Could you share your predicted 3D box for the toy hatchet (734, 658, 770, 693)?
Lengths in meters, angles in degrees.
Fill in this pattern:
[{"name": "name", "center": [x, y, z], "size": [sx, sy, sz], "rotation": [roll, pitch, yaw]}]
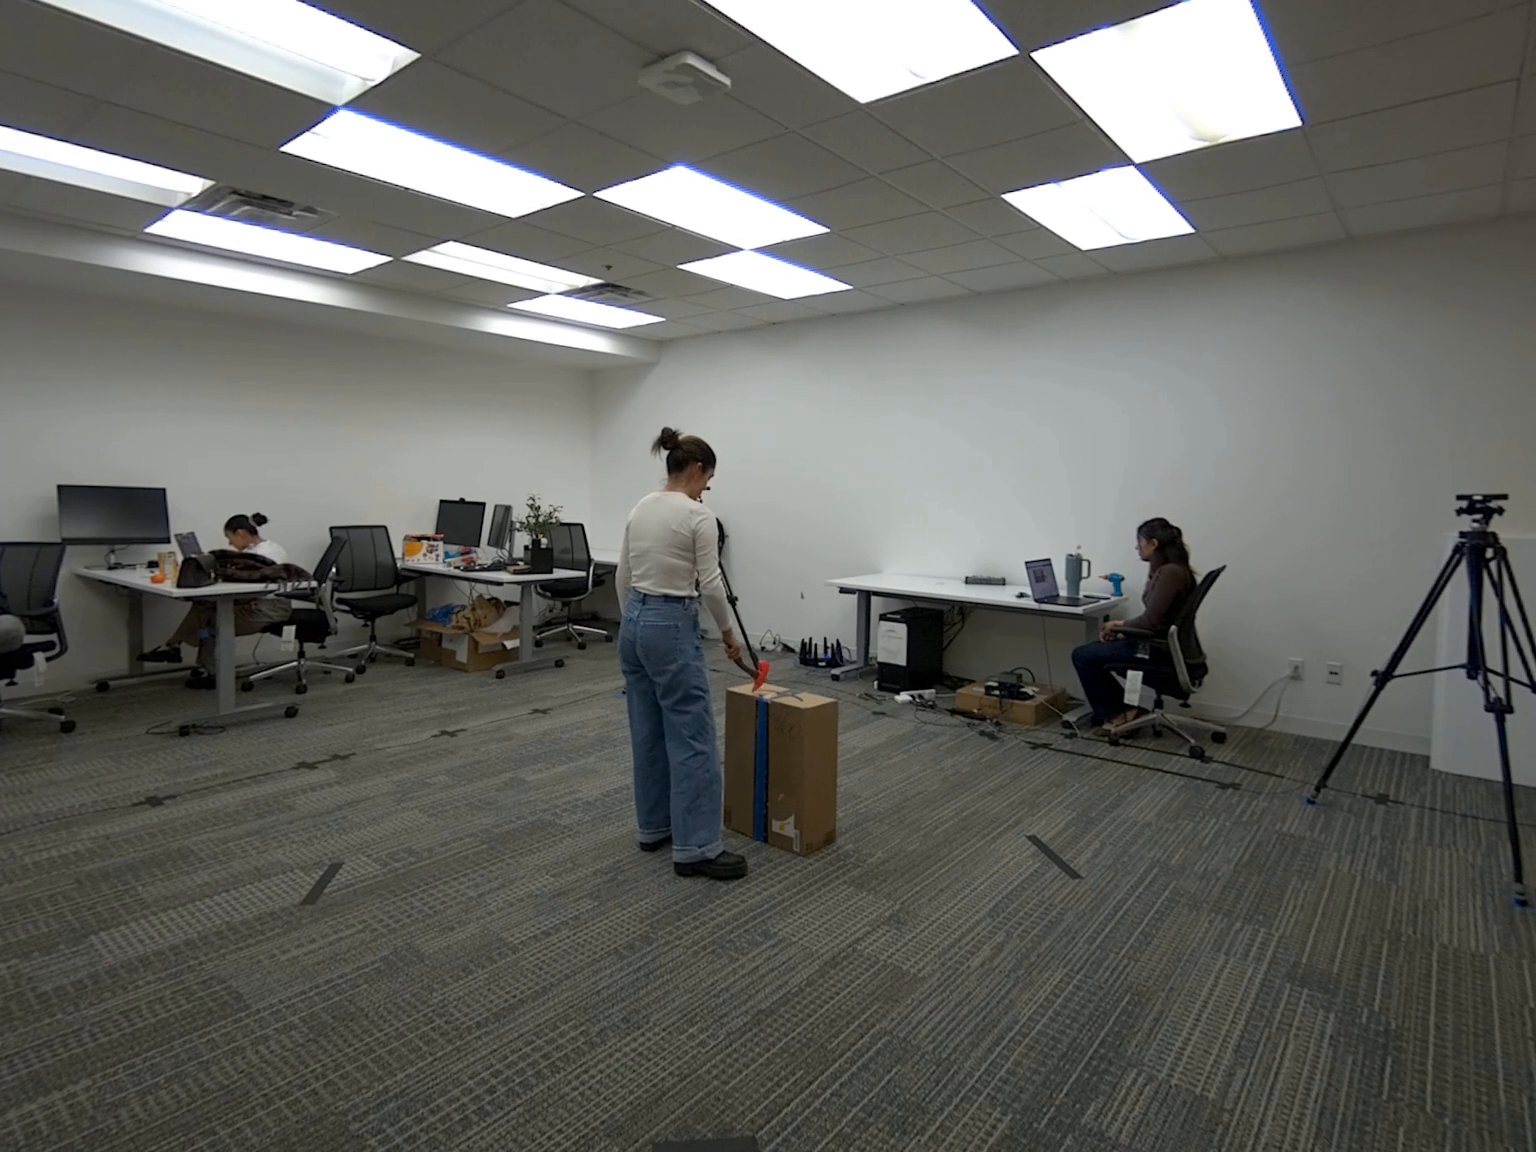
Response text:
[{"name": "toy hatchet", "center": [-0.068, 0.328, 3.397], "size": [0.031, 0.260, 0.131], "rotation": [16, 57, 46]}]
